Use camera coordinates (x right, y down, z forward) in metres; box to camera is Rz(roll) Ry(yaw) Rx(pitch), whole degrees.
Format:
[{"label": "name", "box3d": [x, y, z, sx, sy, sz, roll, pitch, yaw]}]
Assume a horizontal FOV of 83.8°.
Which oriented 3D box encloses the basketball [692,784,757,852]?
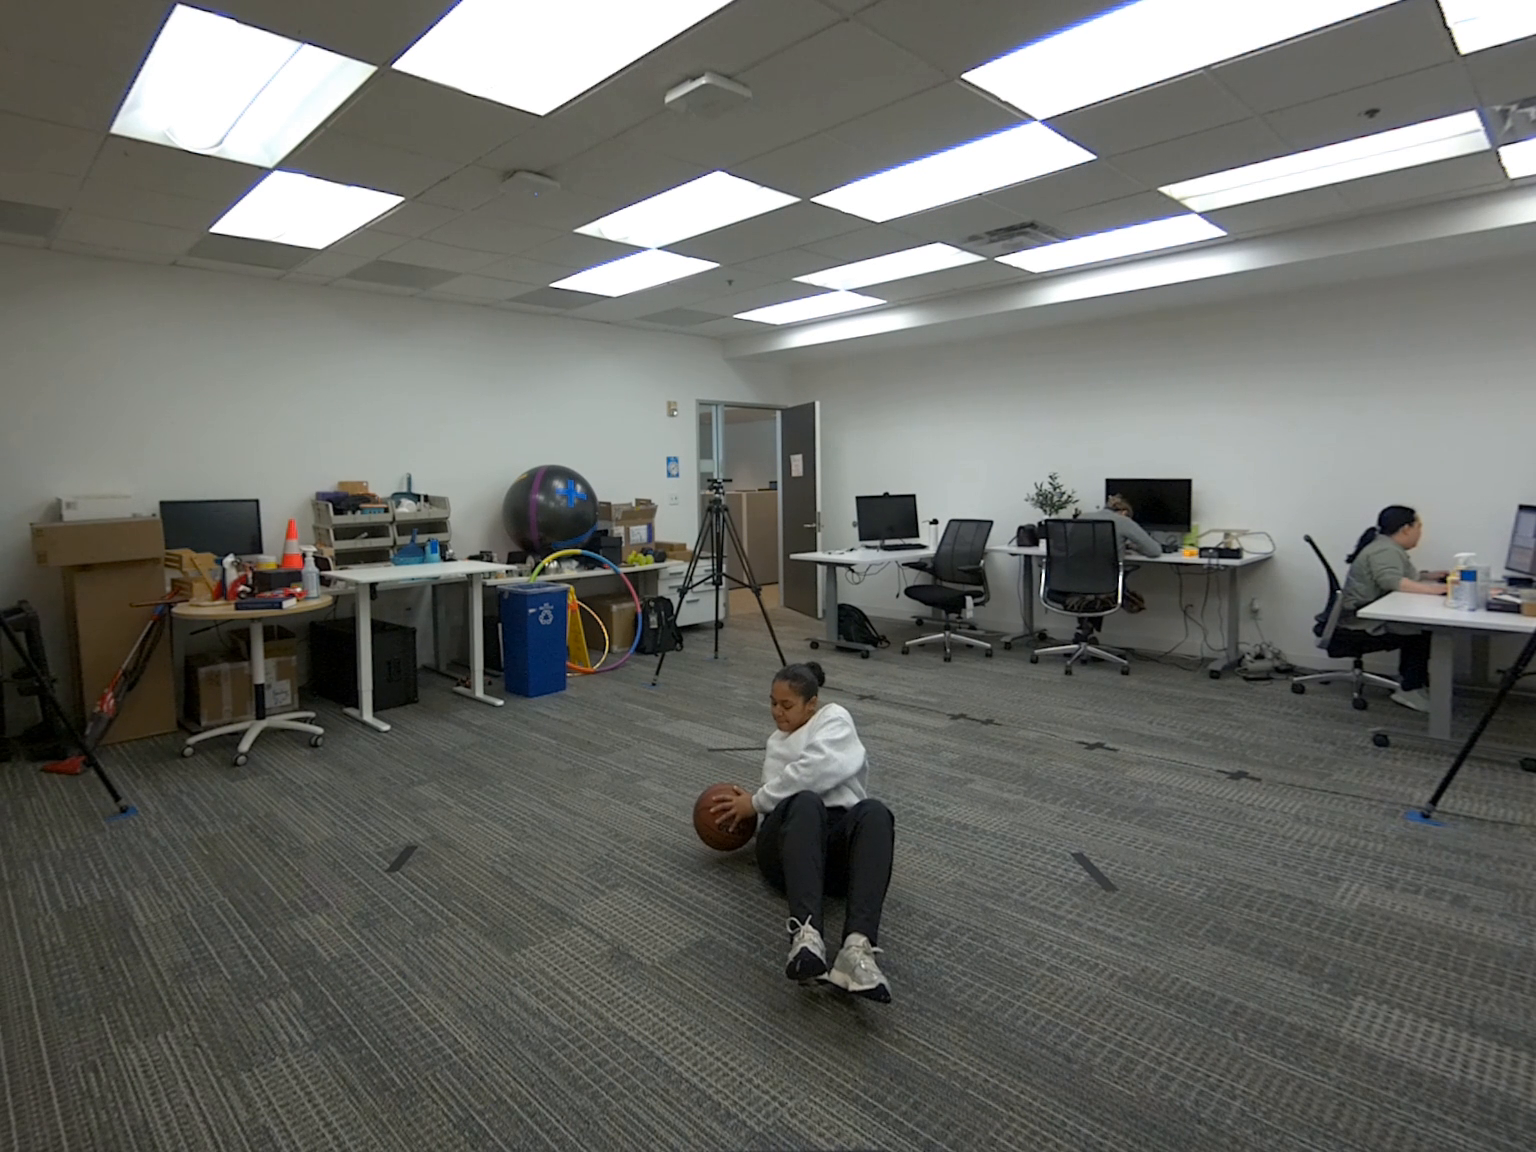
[{"label": "basketball", "box3d": [-0.149, 0.862, 3.113, 0.236, 0.235, 0.237, -1, 5, -2]}]
